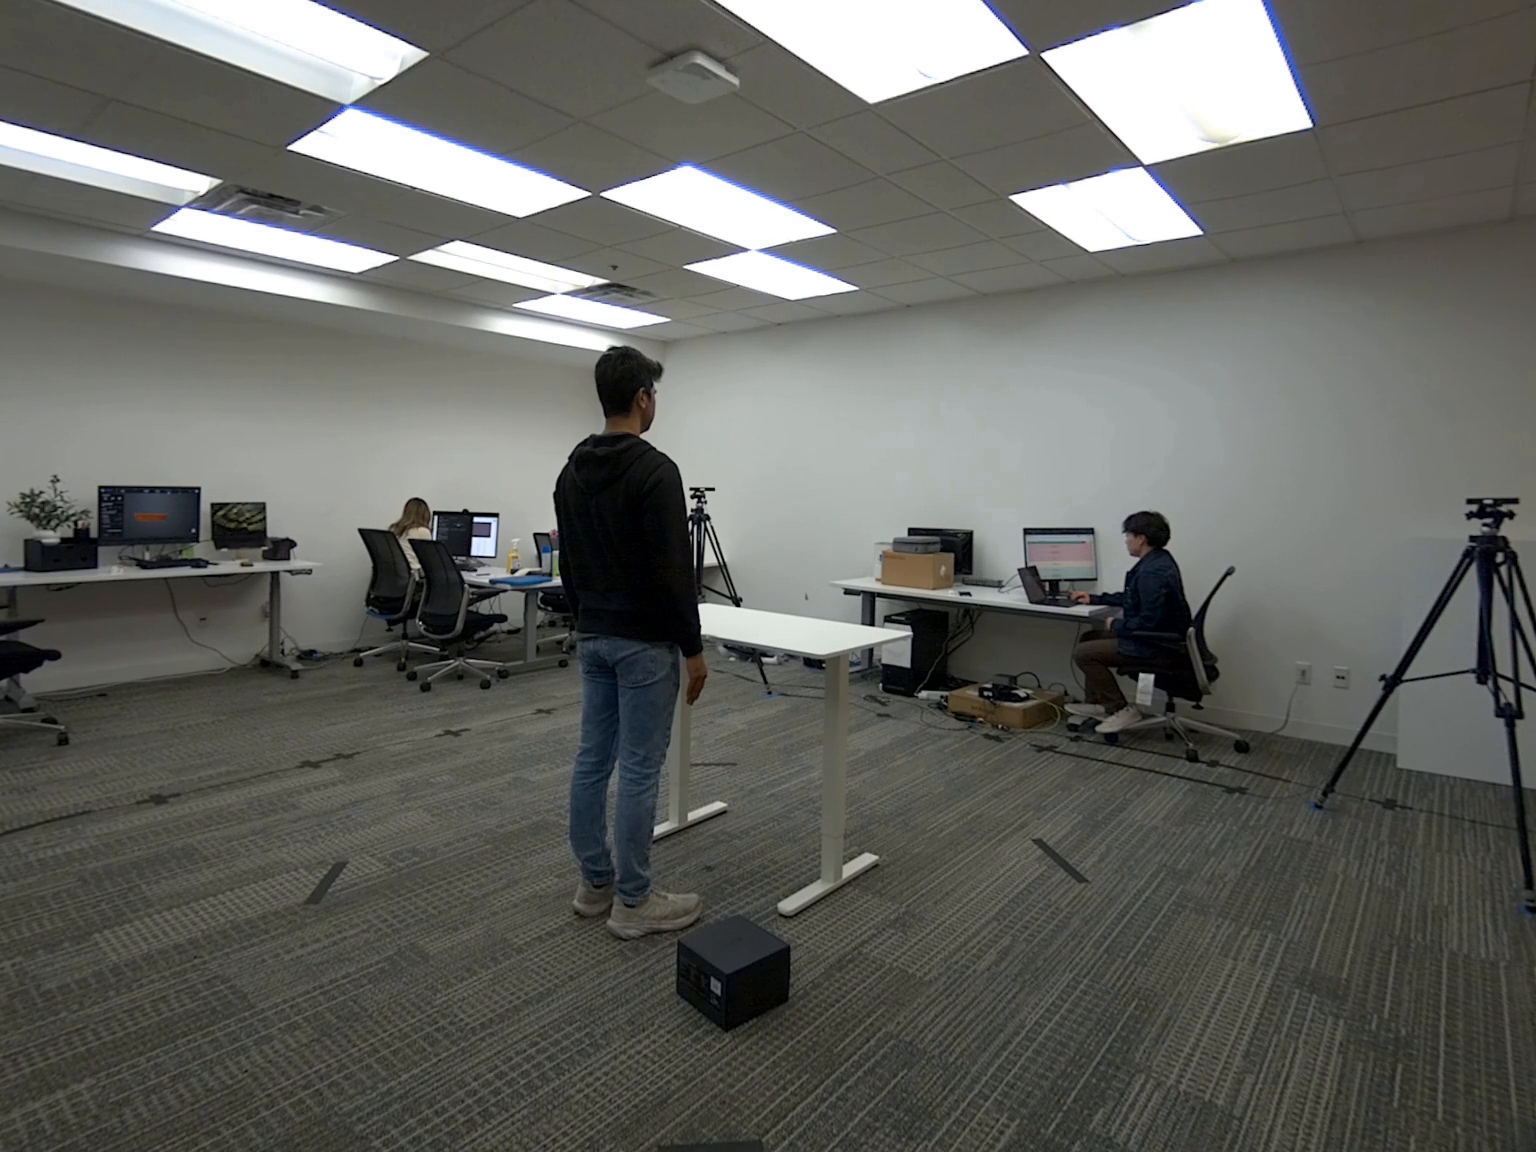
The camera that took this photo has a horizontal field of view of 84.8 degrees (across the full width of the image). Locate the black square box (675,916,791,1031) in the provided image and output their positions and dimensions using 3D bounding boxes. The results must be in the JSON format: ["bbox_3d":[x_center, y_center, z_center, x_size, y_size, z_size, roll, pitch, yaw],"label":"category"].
[{"bbox_3d":[-0.102,1.063,2.318,0.221,0.155,0.224,-3,7,-42],"label":"black square box"}]
